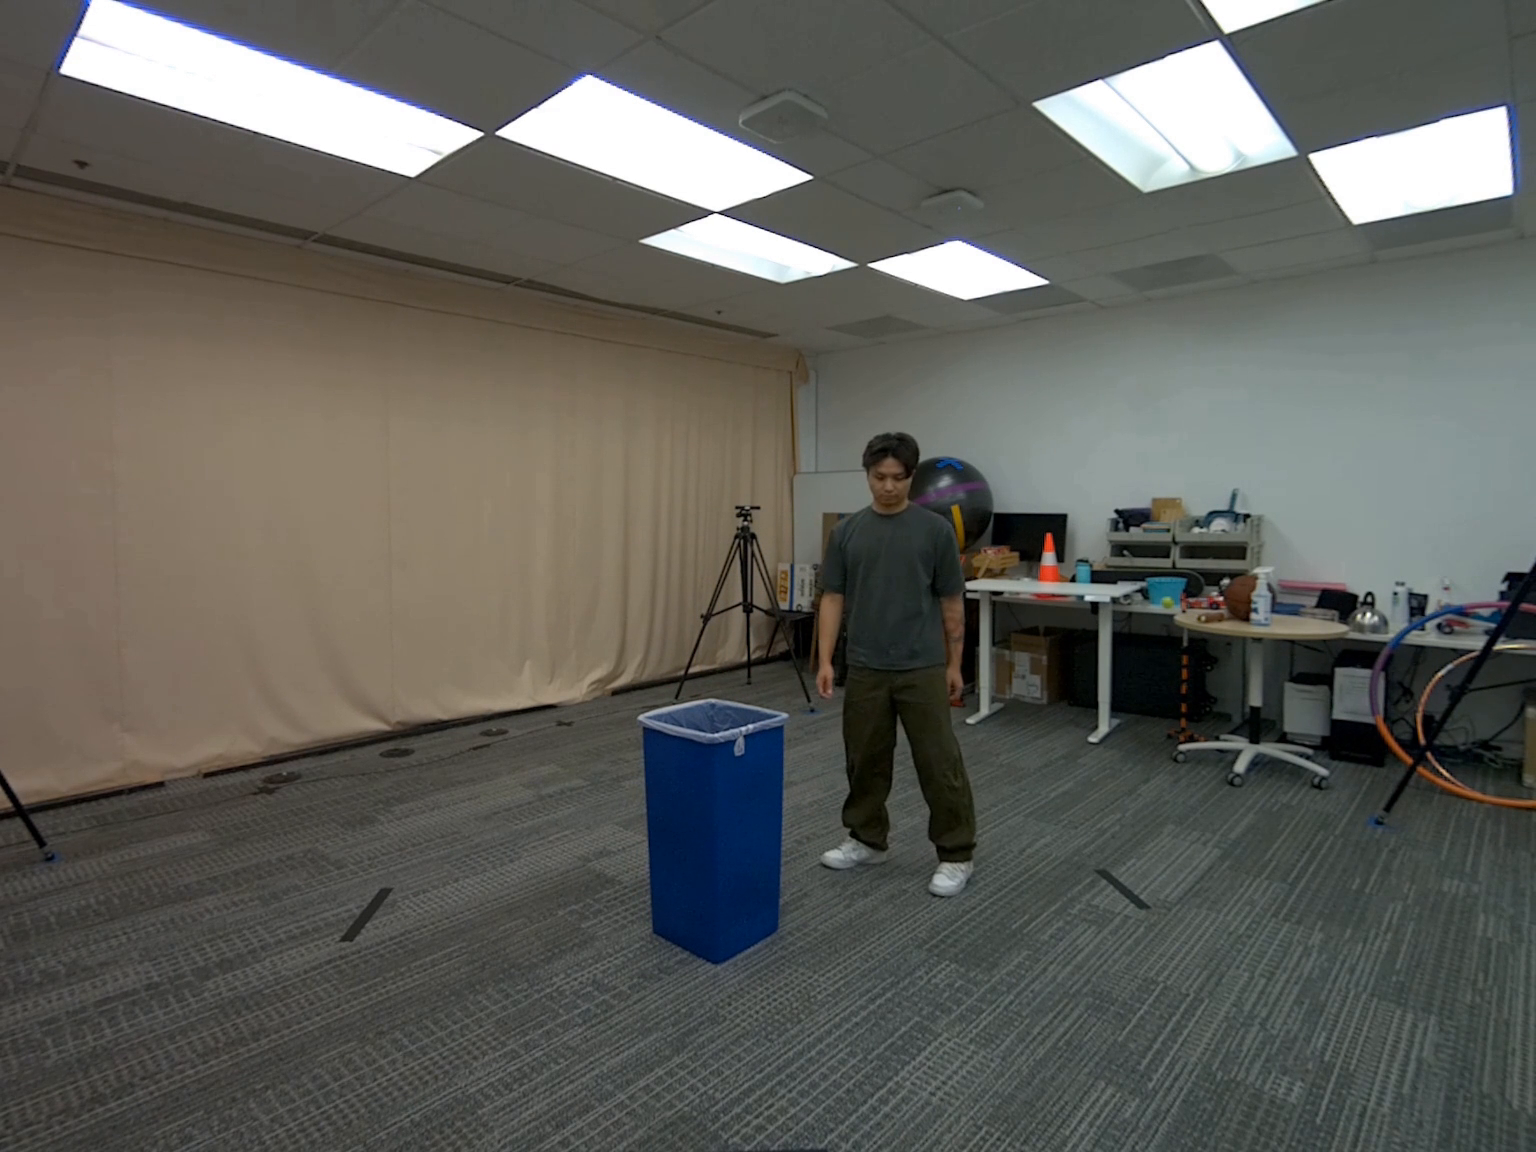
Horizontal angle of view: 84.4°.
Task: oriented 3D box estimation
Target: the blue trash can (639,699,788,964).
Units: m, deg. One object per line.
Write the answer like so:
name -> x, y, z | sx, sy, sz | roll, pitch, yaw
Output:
blue trash can -> -0.172, 0.809, 2.735 | 0.390, 0.712, 0.362 | 2, 3, 42
